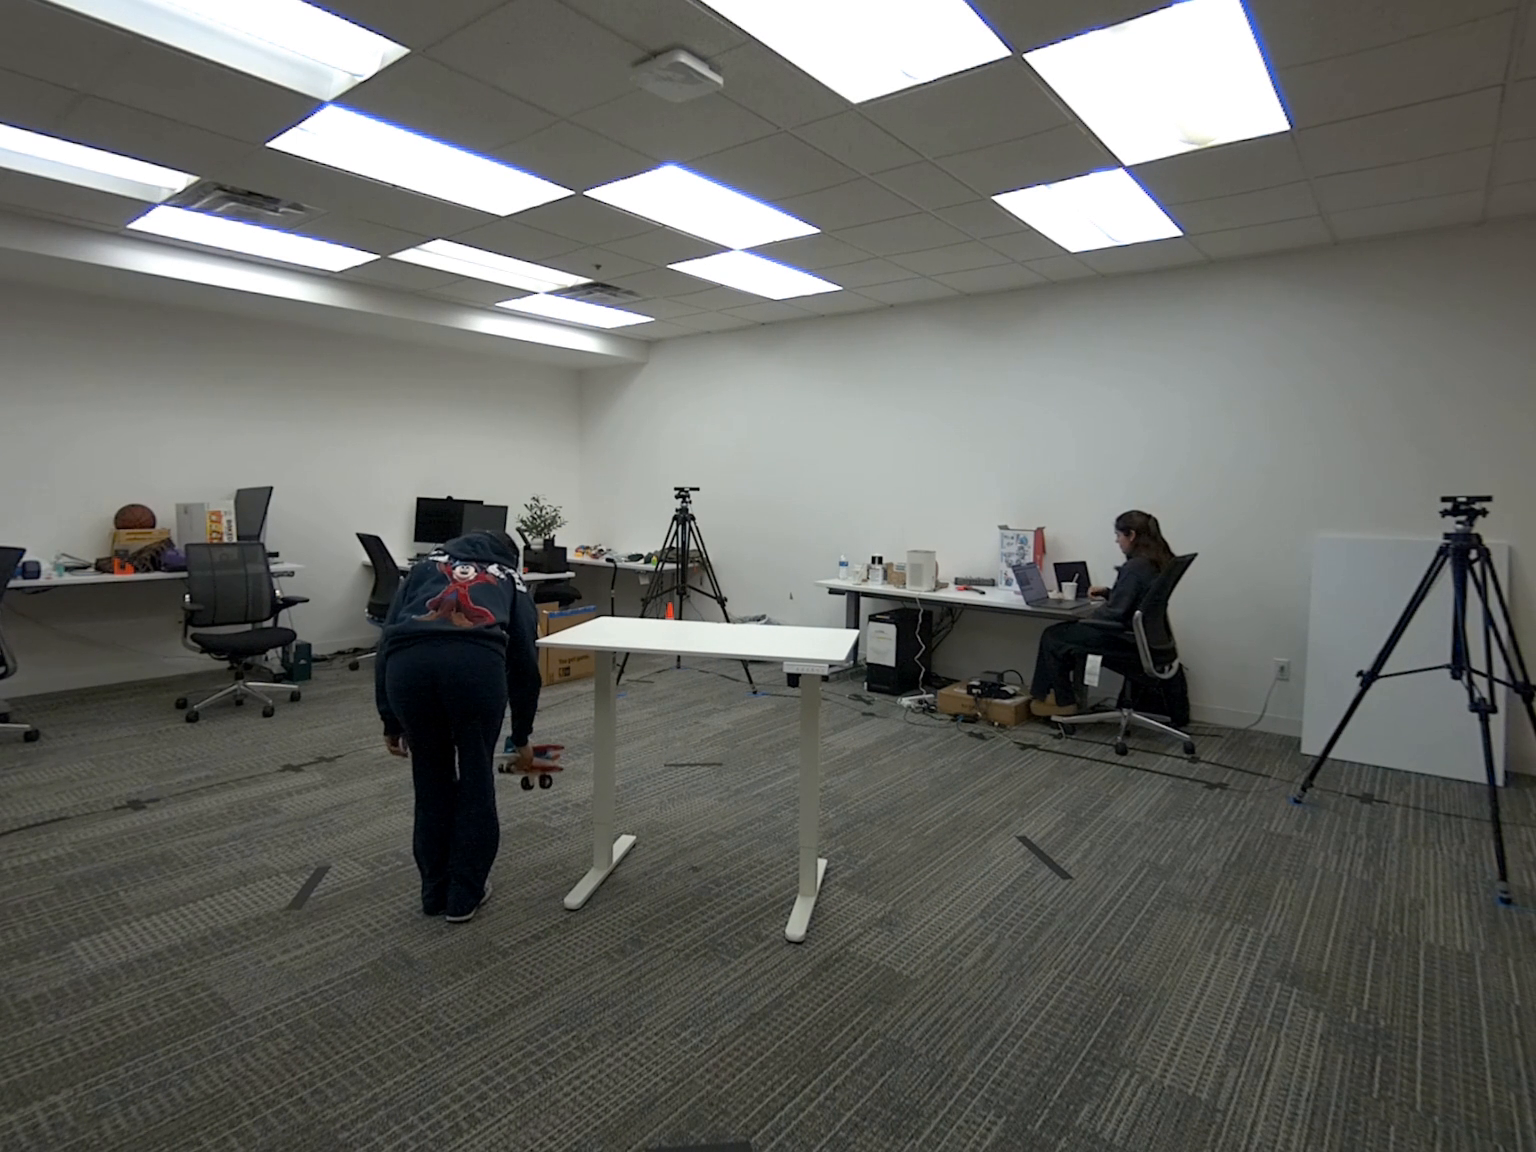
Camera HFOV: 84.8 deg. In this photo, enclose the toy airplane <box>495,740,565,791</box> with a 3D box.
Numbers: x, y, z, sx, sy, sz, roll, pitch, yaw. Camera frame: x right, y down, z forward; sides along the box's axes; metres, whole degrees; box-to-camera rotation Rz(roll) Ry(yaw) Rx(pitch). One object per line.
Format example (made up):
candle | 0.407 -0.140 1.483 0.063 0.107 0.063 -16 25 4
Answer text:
toy airplane | -0.890 0.686 3.144 0.252 0.160 0.253 7 -33 1
